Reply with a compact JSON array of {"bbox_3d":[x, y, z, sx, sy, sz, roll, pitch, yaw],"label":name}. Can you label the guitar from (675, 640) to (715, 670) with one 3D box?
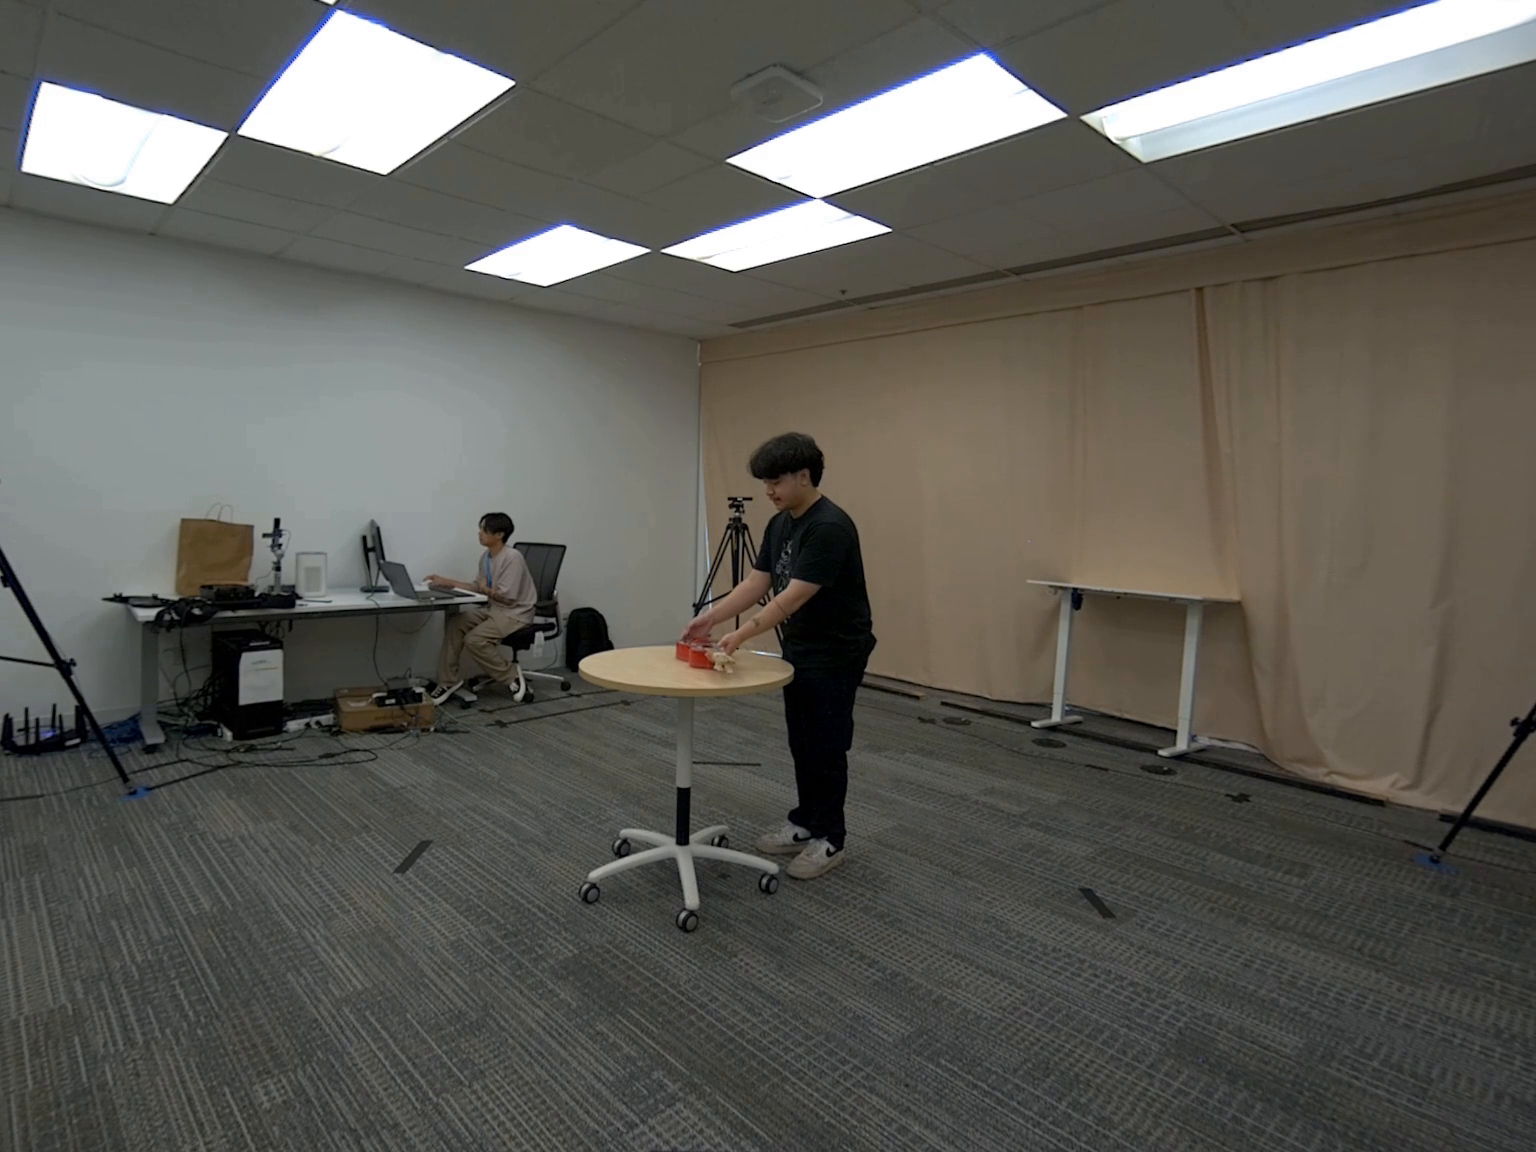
[{"bbox_3d":[-0.249,0.280,2.971,0.192,0.070,0.501,3,4,-5],"label":"guitar"}]
